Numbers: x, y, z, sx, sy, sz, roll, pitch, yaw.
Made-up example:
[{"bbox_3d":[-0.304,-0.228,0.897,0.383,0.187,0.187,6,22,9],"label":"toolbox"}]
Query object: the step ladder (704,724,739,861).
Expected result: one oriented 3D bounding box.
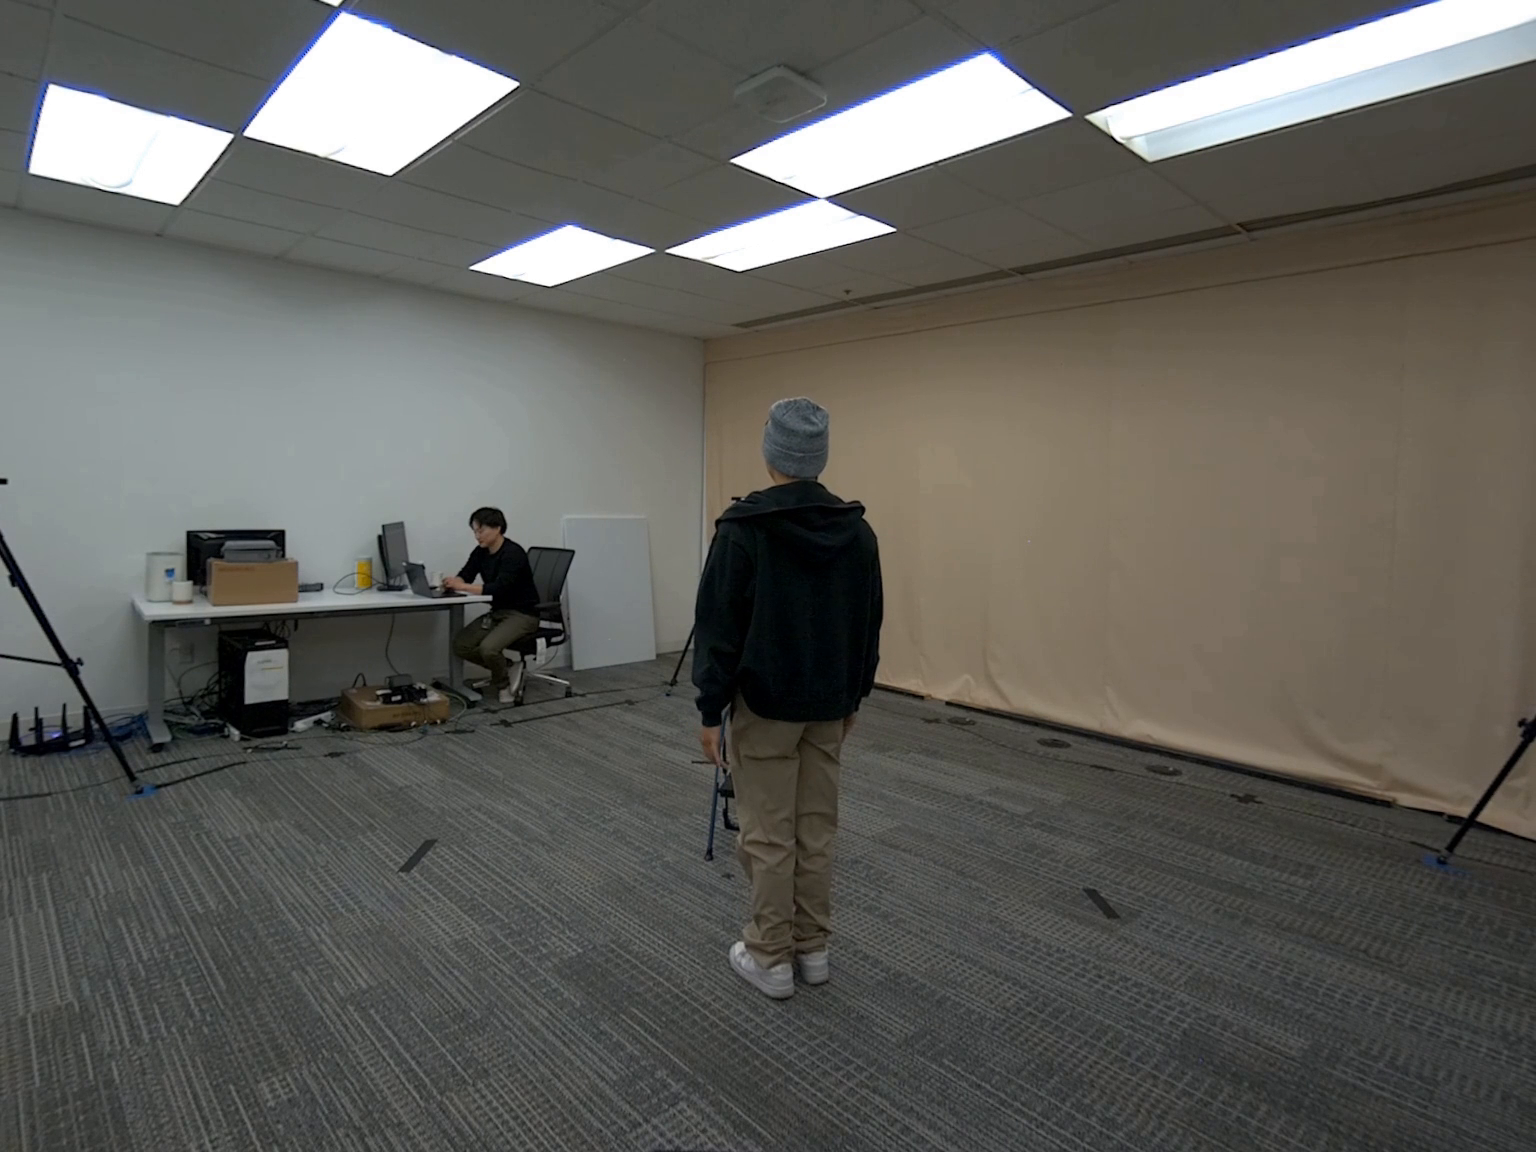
[{"bbox_3d":[0.000,0.790,3.349,0.435,0.605,0.347,1,3,11],"label":"step ladder"}]
